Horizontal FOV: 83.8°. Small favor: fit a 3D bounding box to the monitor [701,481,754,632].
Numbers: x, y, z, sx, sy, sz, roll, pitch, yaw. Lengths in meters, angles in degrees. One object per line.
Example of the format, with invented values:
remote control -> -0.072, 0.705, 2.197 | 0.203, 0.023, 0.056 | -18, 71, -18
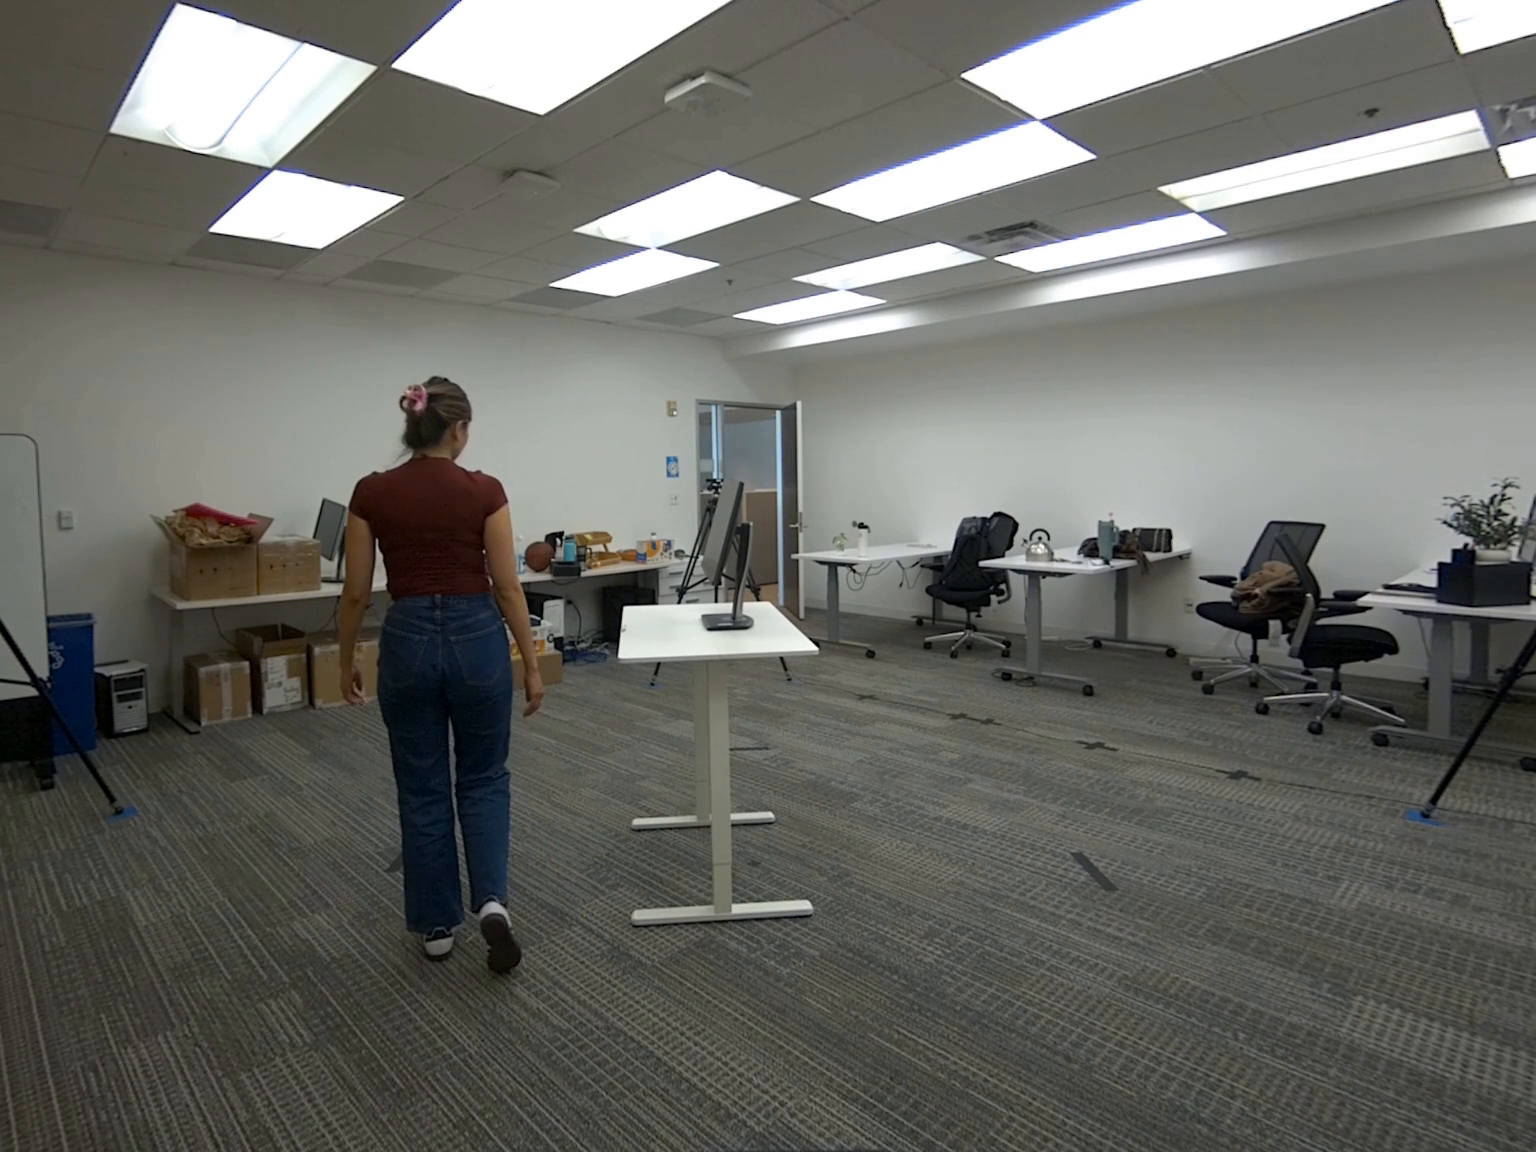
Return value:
monitor -> -0.136, -0.082, 3.044 | 0.185, 0.520, 0.546 | 0, 5, -10
